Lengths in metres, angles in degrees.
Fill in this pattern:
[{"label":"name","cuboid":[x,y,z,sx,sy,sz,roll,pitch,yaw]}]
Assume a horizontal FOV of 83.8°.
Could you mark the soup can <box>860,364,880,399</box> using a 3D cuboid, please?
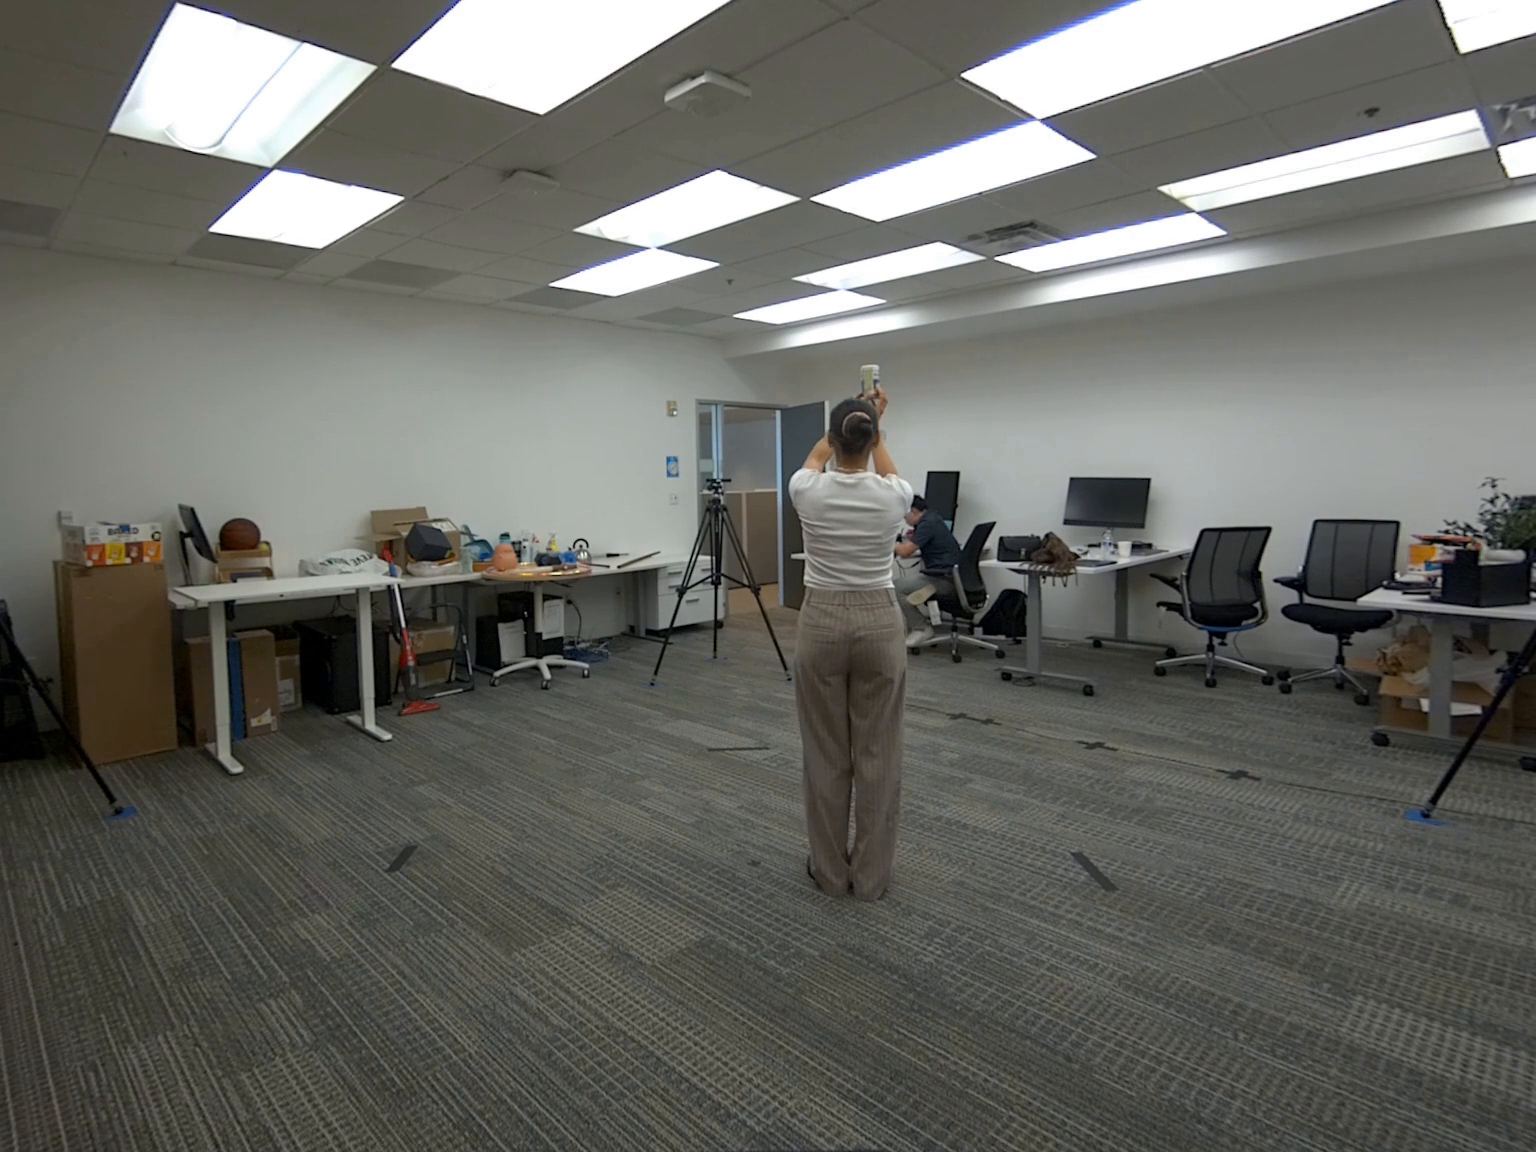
[{"label":"soup can","cuboid":[0.394,-0.722,3.182,0.067,0.121,0.067,1,0,-2]}]
